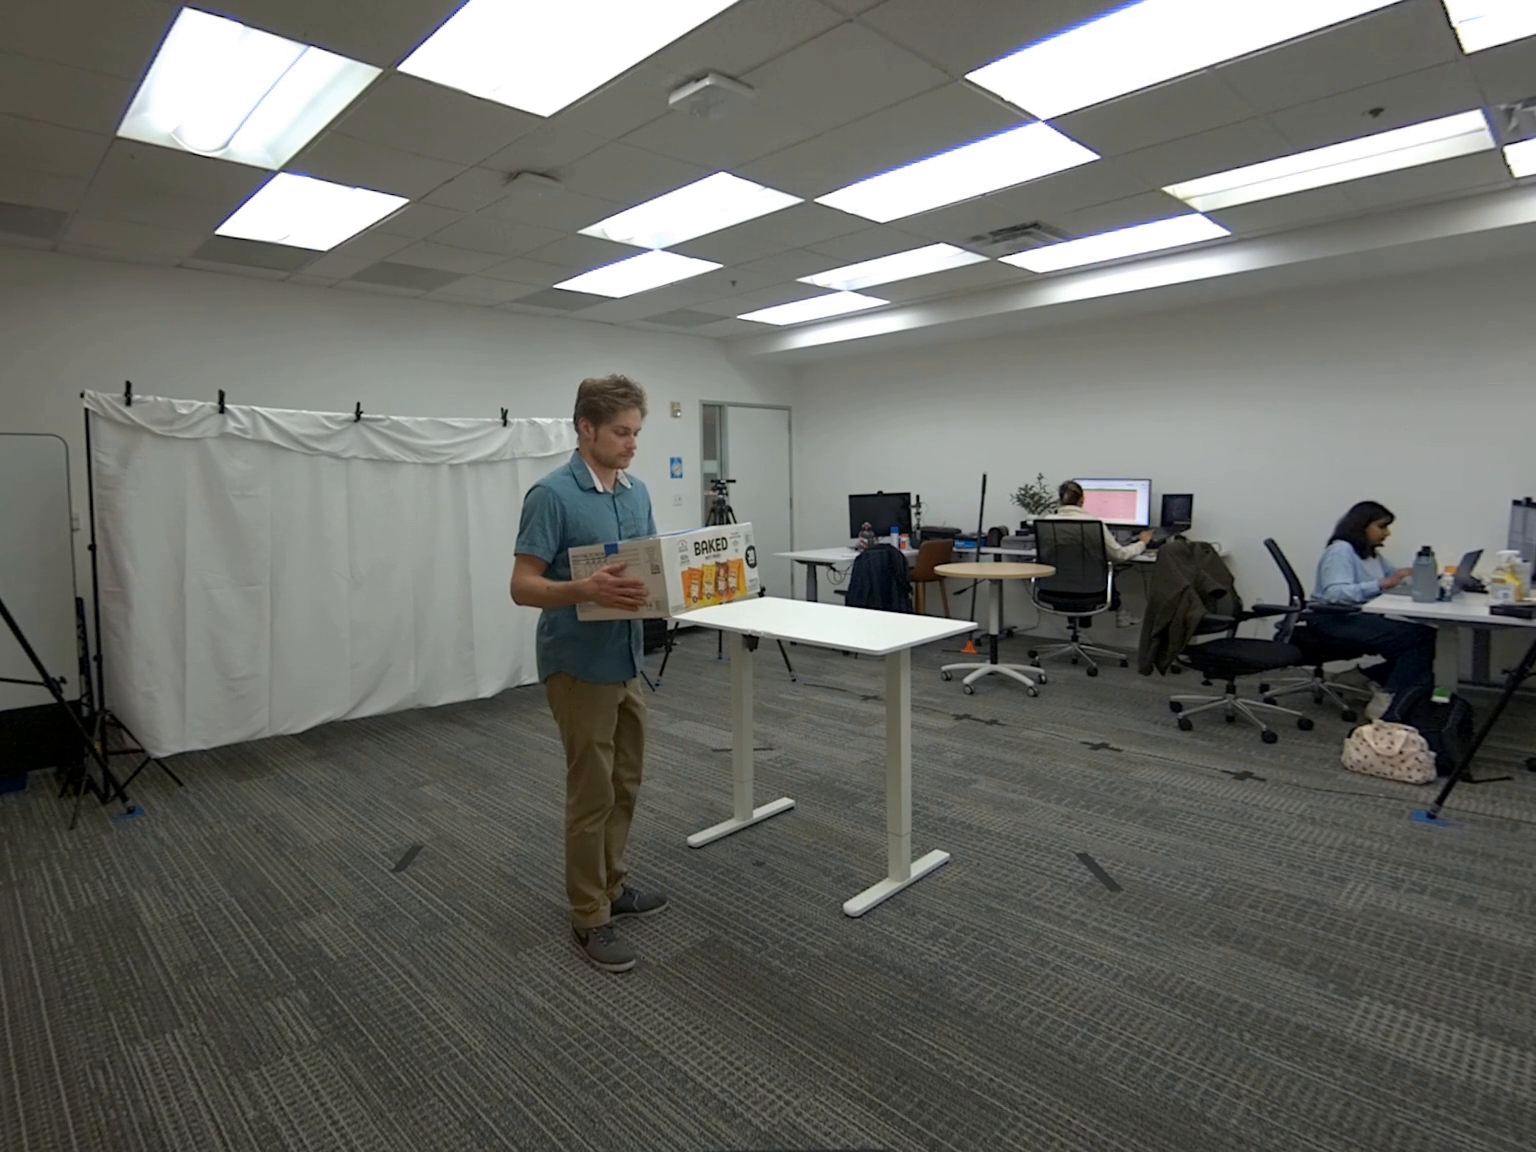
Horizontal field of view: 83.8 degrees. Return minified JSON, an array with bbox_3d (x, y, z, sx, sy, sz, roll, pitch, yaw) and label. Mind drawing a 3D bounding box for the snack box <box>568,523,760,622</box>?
[{"bbox_3d":[-0.278,-0.014,2.384,0.349,0.205,0.396,-5,5,35],"label":"snack box"}]
